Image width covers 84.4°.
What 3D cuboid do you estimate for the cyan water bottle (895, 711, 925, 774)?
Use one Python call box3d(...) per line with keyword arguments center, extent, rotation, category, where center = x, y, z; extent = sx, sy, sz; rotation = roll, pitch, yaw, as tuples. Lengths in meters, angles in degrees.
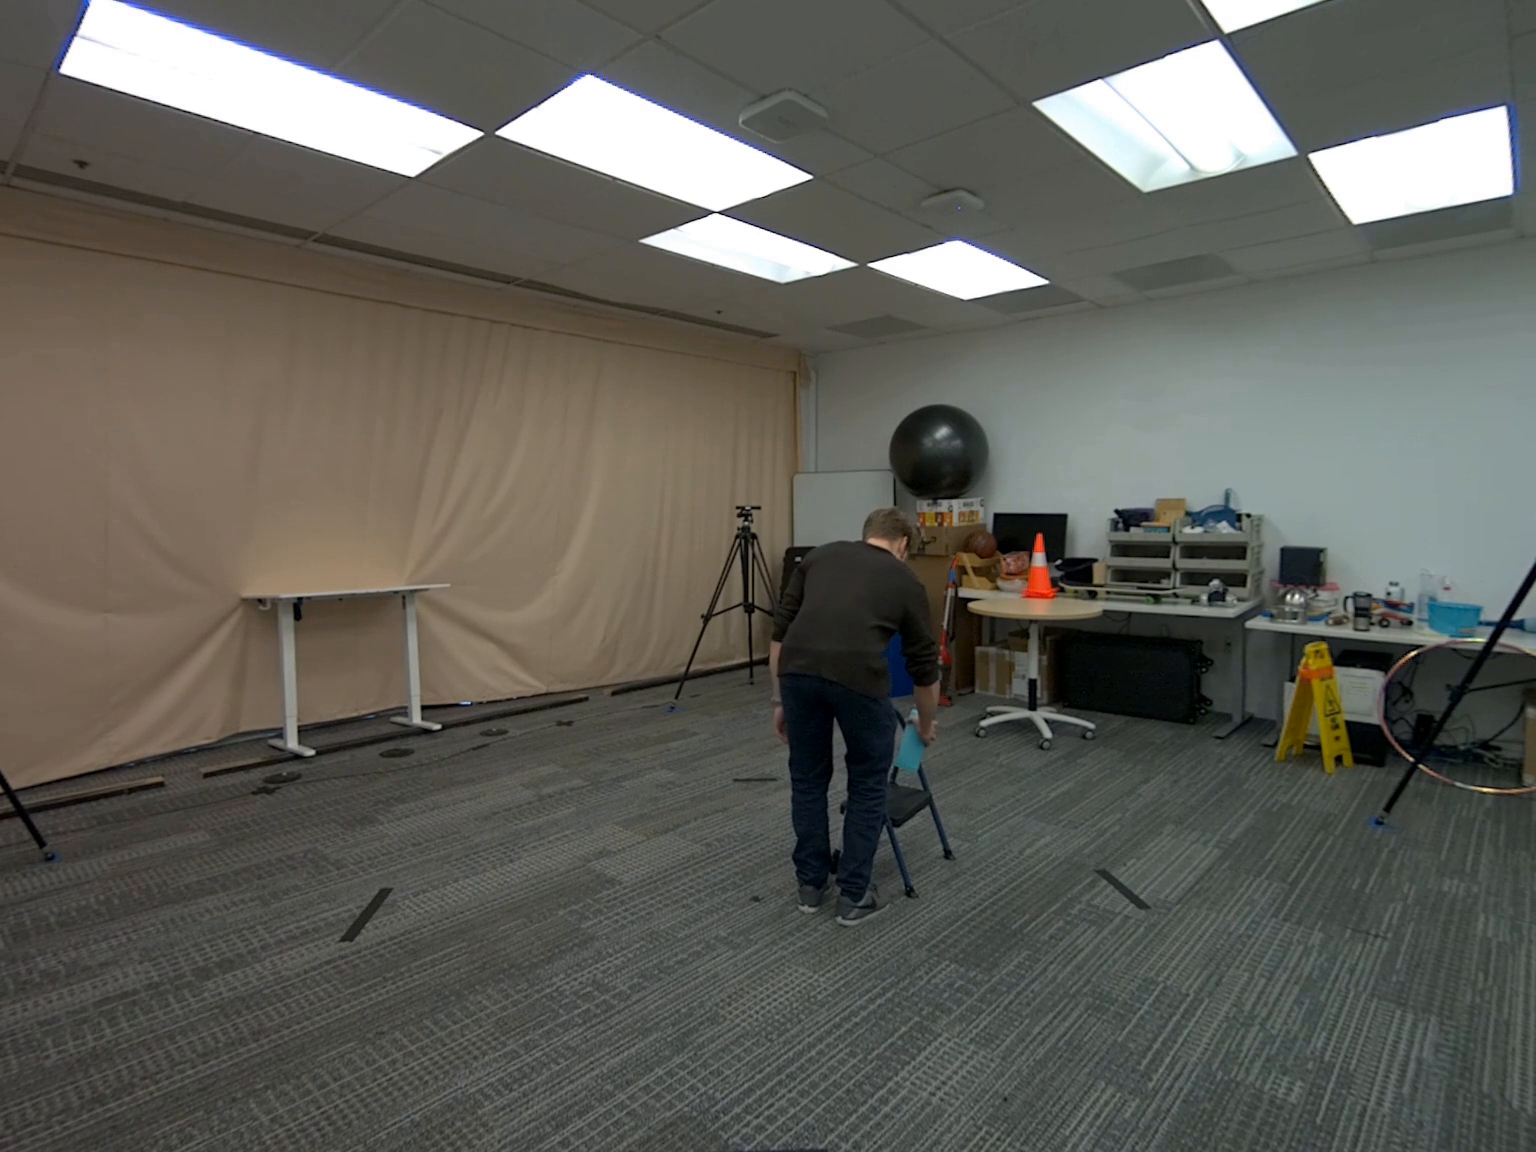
box3d(center=(0.580, 0.602, 3.229), extent=(0.092, 0.284, 0.092), rotation=(18, -4, -1), category="cyan water bottle")
